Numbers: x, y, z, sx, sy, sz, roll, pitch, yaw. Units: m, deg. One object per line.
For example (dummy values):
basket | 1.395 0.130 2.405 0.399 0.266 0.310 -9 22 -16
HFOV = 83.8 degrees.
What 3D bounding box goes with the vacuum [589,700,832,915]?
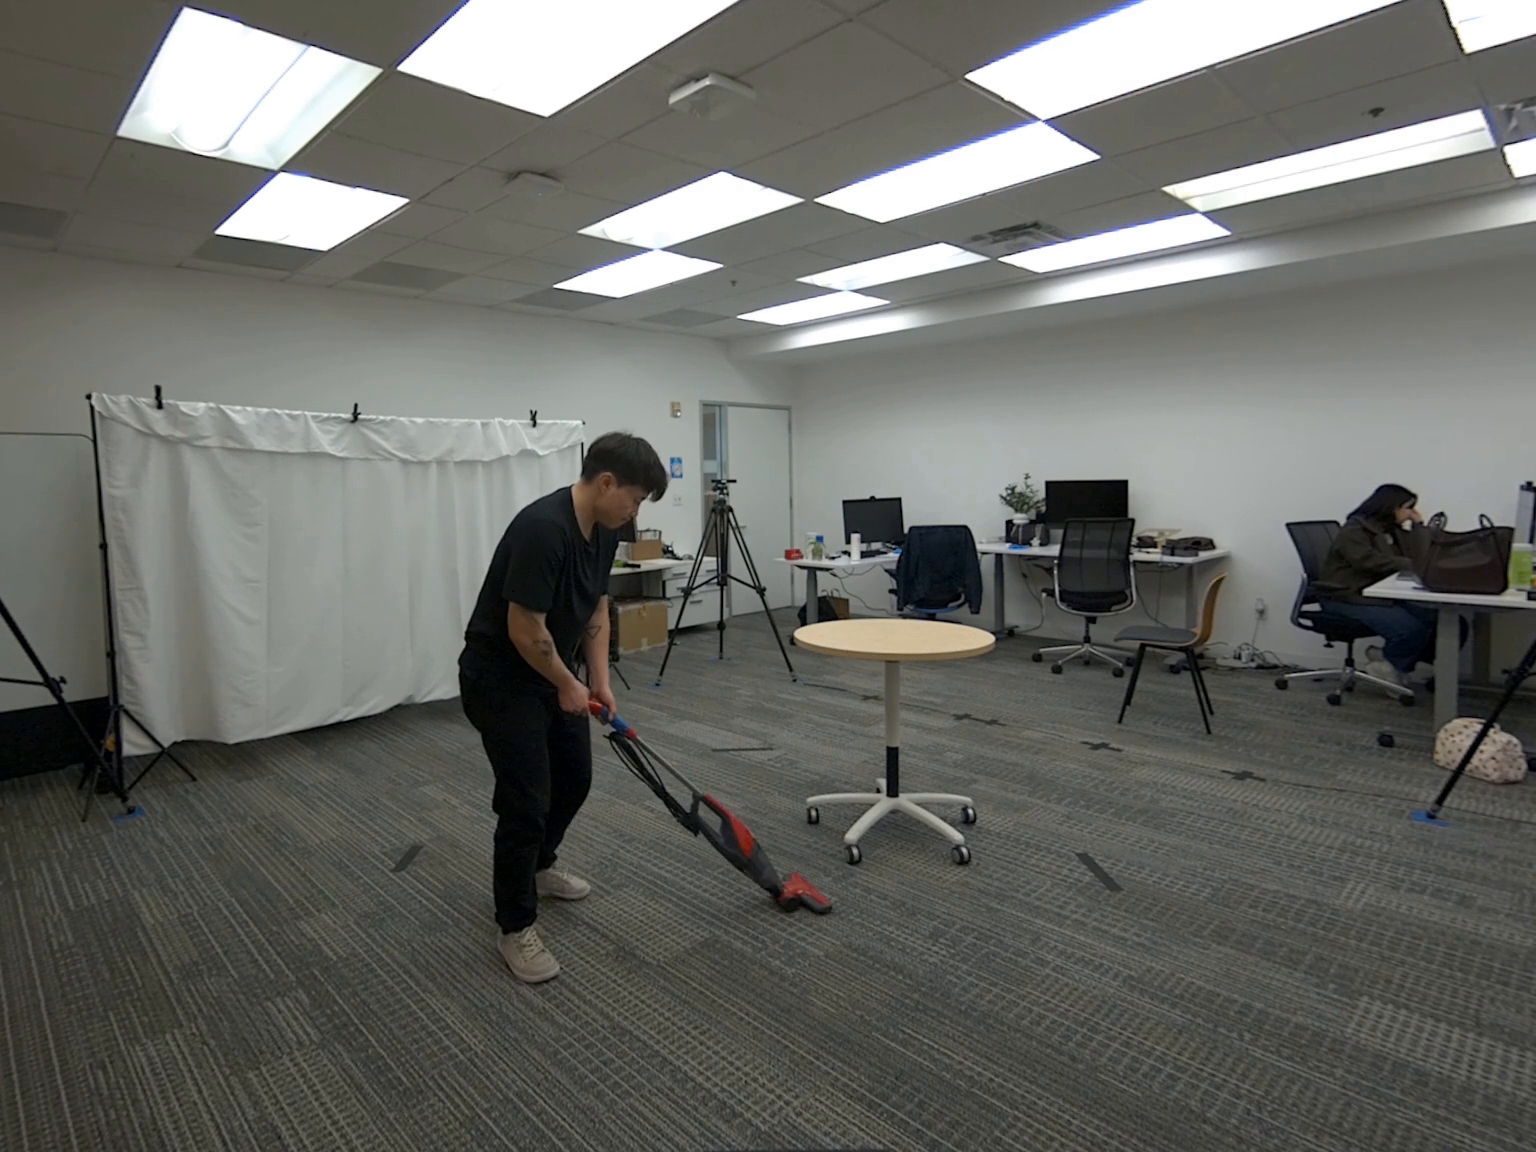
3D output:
vacuum | -0.224 0.718 2.664 0.144 1.022 0.259 -48 21 -12
